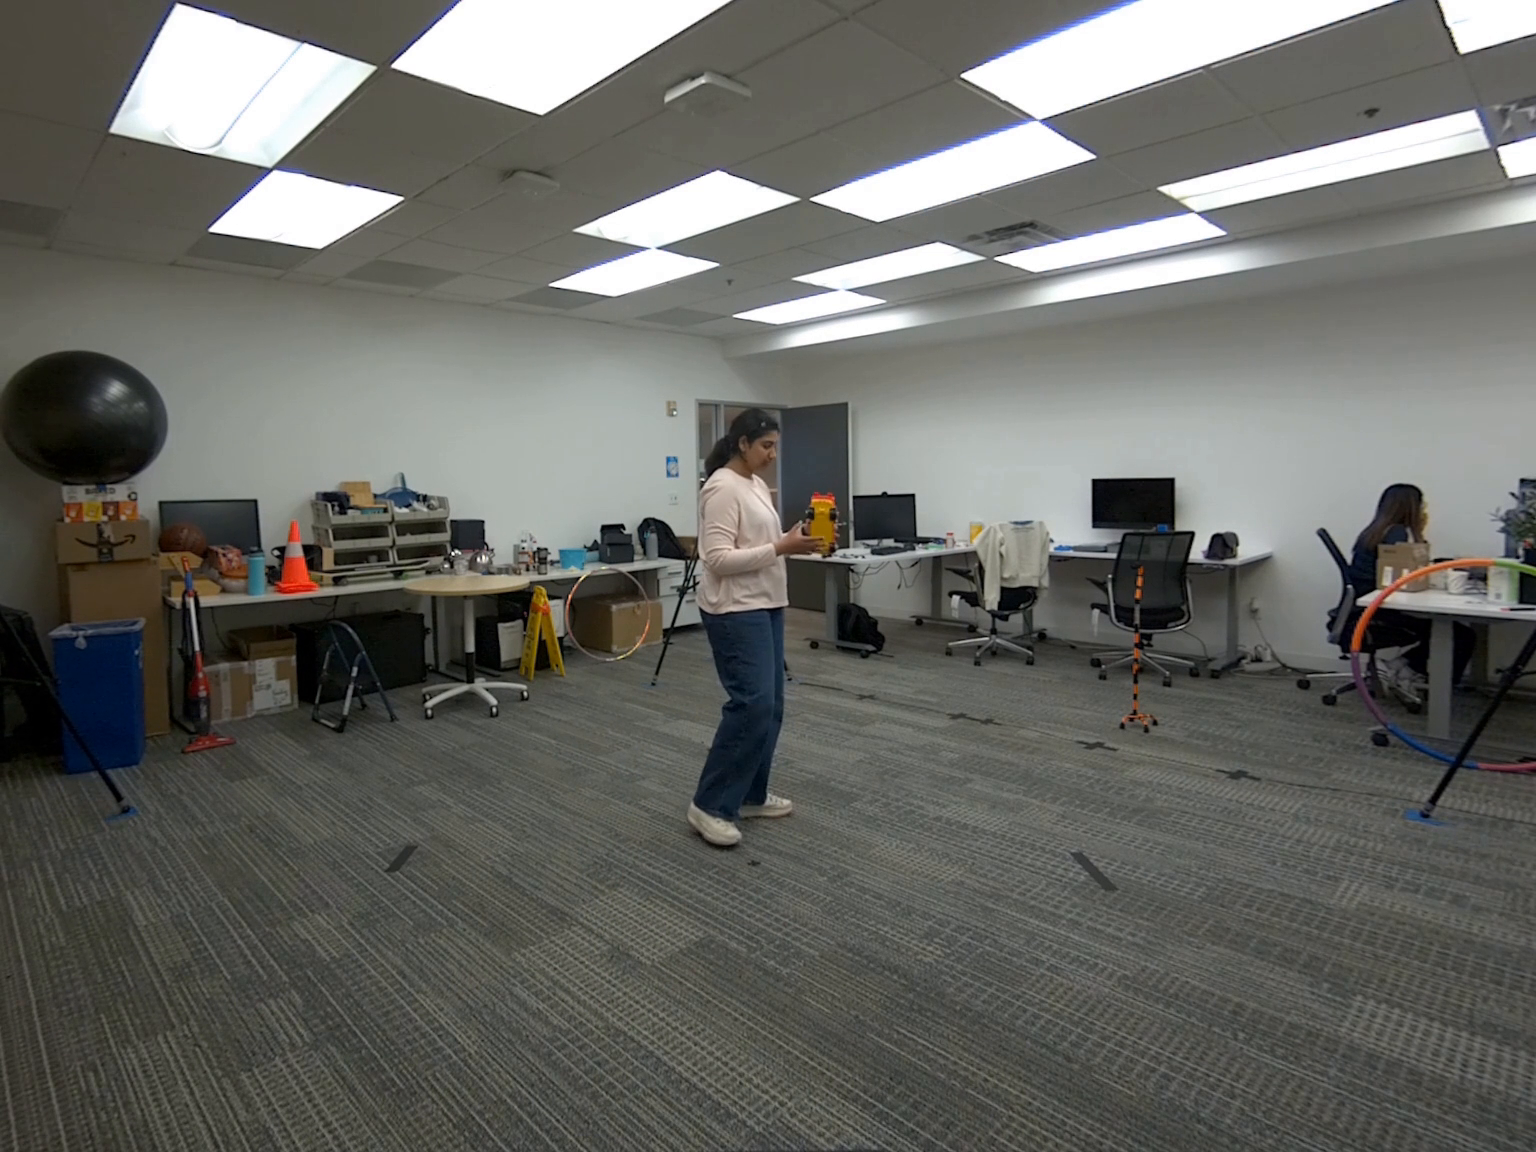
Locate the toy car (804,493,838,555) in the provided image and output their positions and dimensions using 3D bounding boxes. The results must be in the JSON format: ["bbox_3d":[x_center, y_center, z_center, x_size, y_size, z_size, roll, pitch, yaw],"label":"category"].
[{"bbox_3d":[0.207,-0.203,3.379,0.132,0.251,0.083,6,16,12],"label":"toy car"}]
